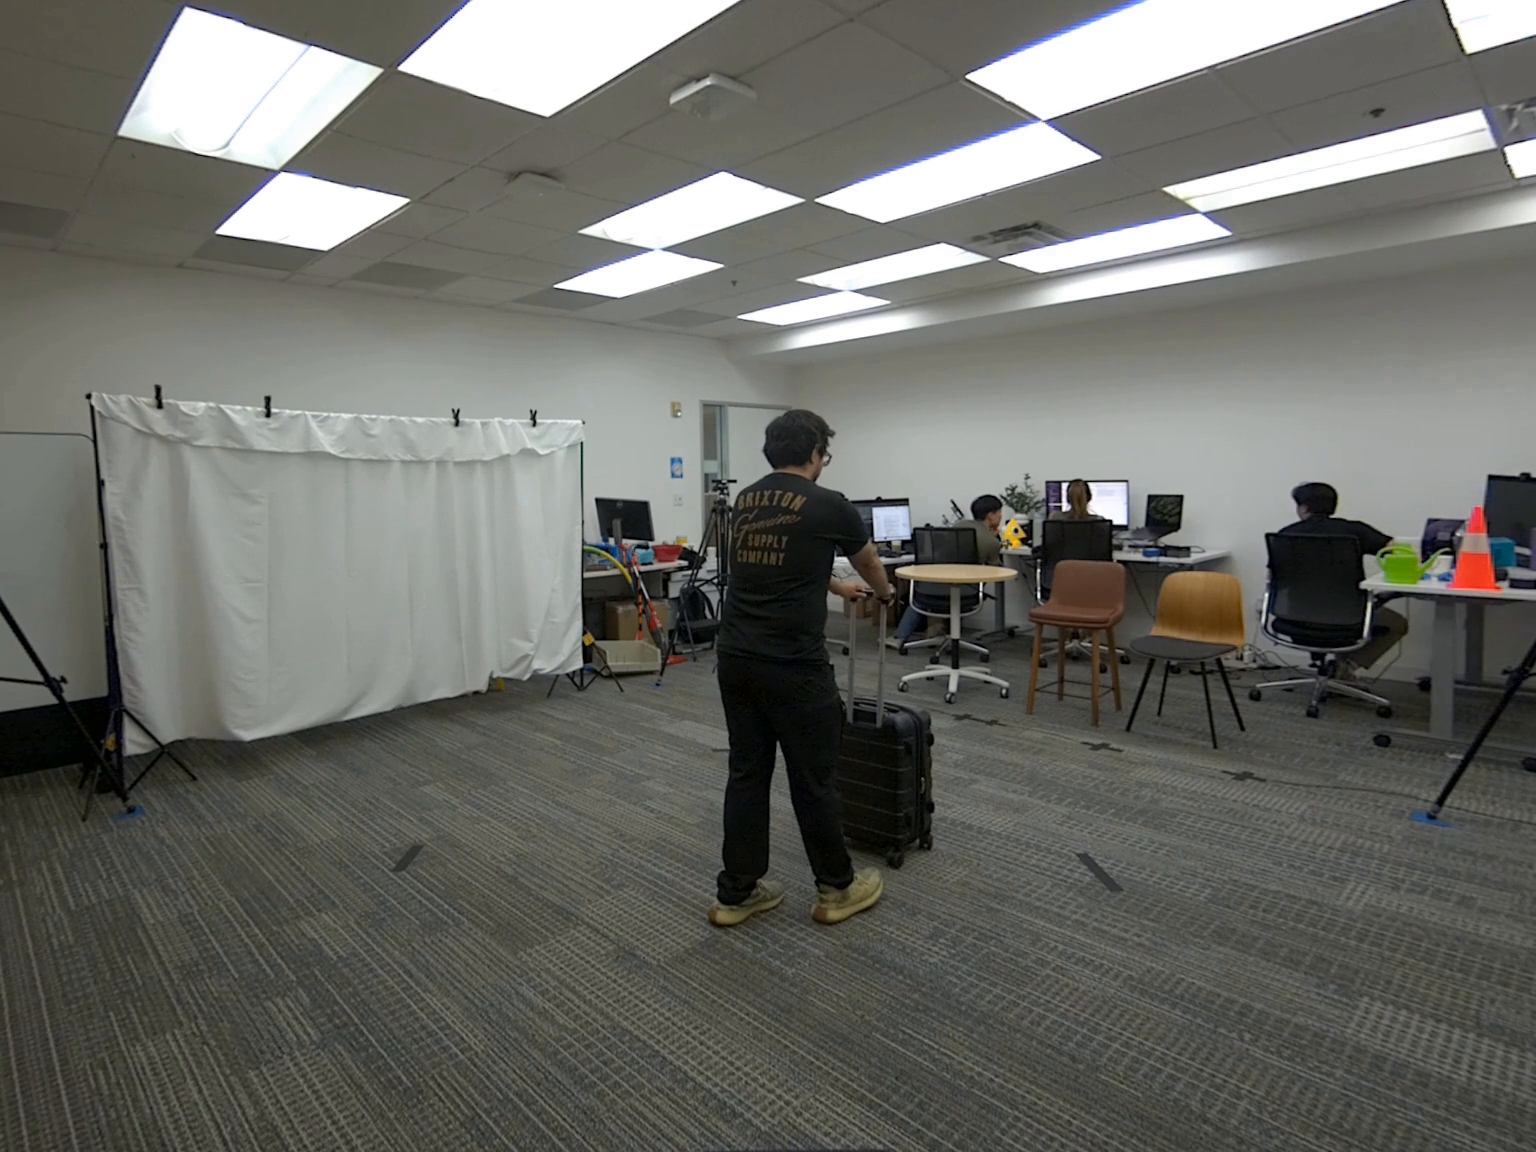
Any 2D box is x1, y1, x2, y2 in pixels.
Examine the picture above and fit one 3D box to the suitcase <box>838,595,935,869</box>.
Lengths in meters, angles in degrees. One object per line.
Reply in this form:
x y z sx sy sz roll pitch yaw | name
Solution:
0.433 0.550 3.252 0.395 0.979 0.249 1 0 41 | suitcase
